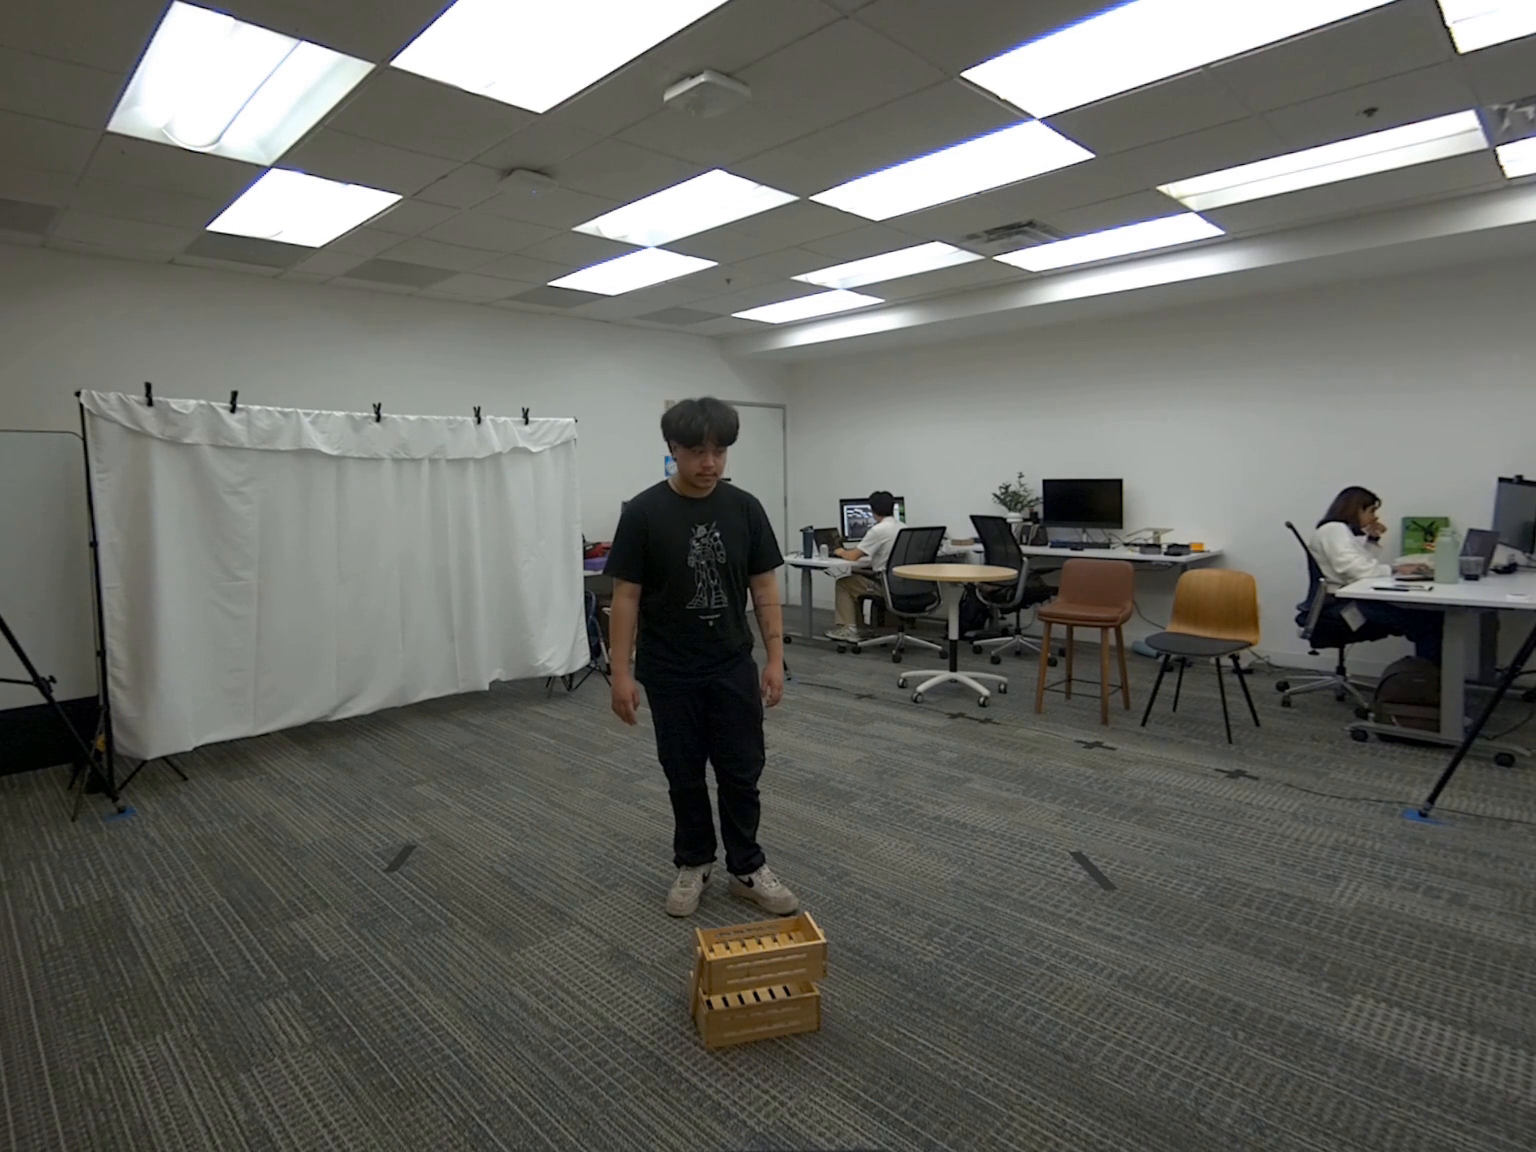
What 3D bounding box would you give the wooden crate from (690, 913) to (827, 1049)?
[{"bbox_3d":[-0.032,1.015,2.214,0.320,0.272,0.308,-3,7,-15],"label":"wooden crate"}]
